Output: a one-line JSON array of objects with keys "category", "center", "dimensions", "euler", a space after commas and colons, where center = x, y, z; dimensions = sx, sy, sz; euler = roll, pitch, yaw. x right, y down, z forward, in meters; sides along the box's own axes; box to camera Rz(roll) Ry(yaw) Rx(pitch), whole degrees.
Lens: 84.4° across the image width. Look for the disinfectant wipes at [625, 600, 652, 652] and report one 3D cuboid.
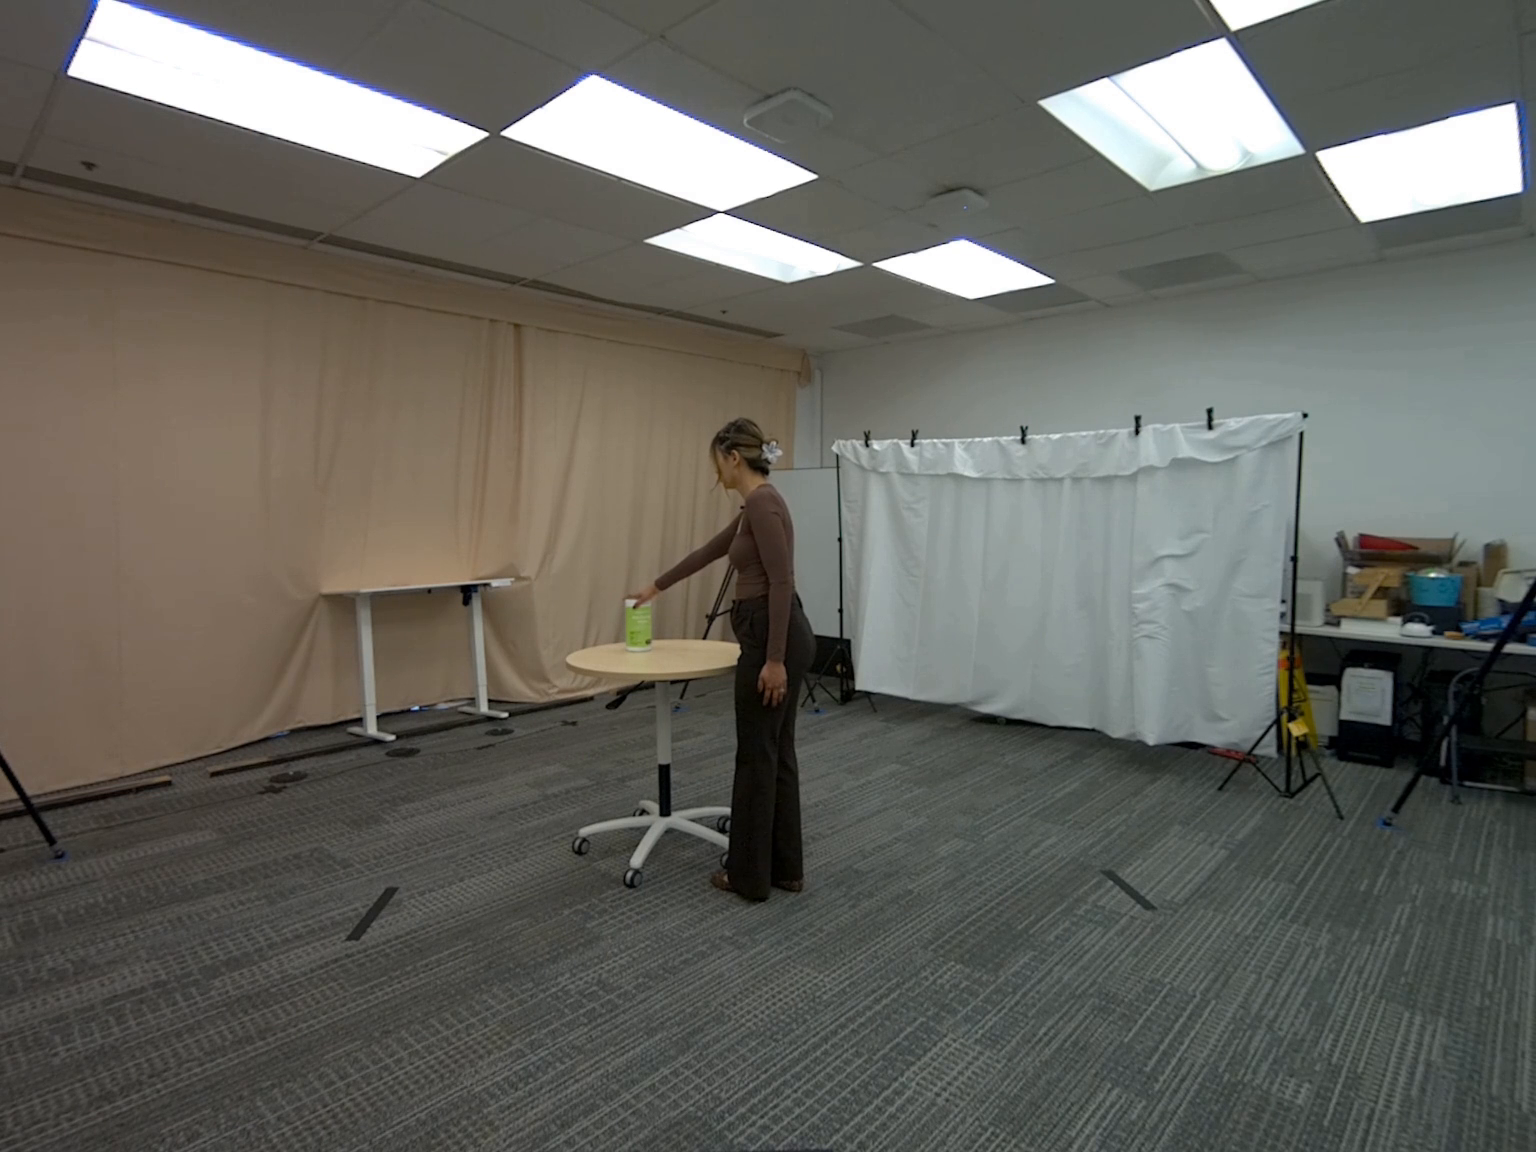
[{"category": "disinfectant wipes", "center": [-0.539, 0.203, 3.506], "dimensions": [0.117, 0.217, 0.118], "euler": [2, 4, -2]}]
